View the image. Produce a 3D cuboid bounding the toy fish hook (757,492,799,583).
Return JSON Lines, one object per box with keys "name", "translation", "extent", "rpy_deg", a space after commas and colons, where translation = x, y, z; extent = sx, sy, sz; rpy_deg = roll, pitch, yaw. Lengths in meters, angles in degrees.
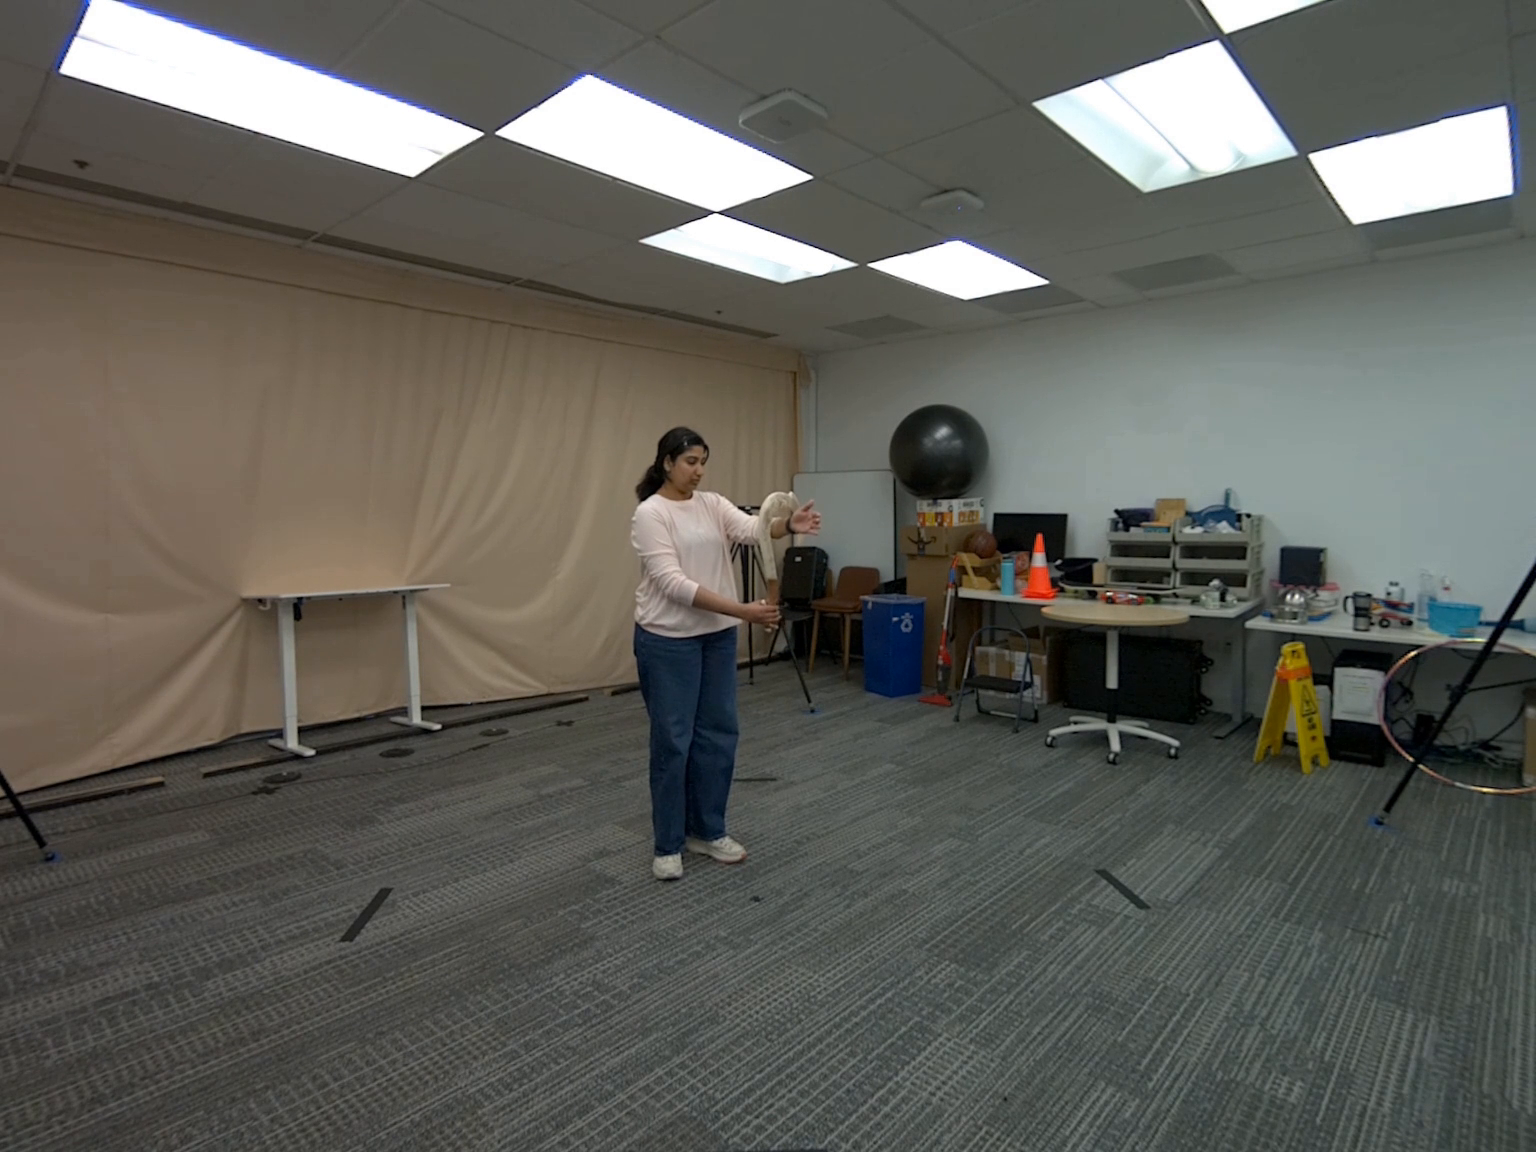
{"name": "toy fish hook", "translation": [0.059, -0.052, 3.069], "extent": [0.219, 0.503, 0.050], "rpy_deg": [-7, 12, -31]}
